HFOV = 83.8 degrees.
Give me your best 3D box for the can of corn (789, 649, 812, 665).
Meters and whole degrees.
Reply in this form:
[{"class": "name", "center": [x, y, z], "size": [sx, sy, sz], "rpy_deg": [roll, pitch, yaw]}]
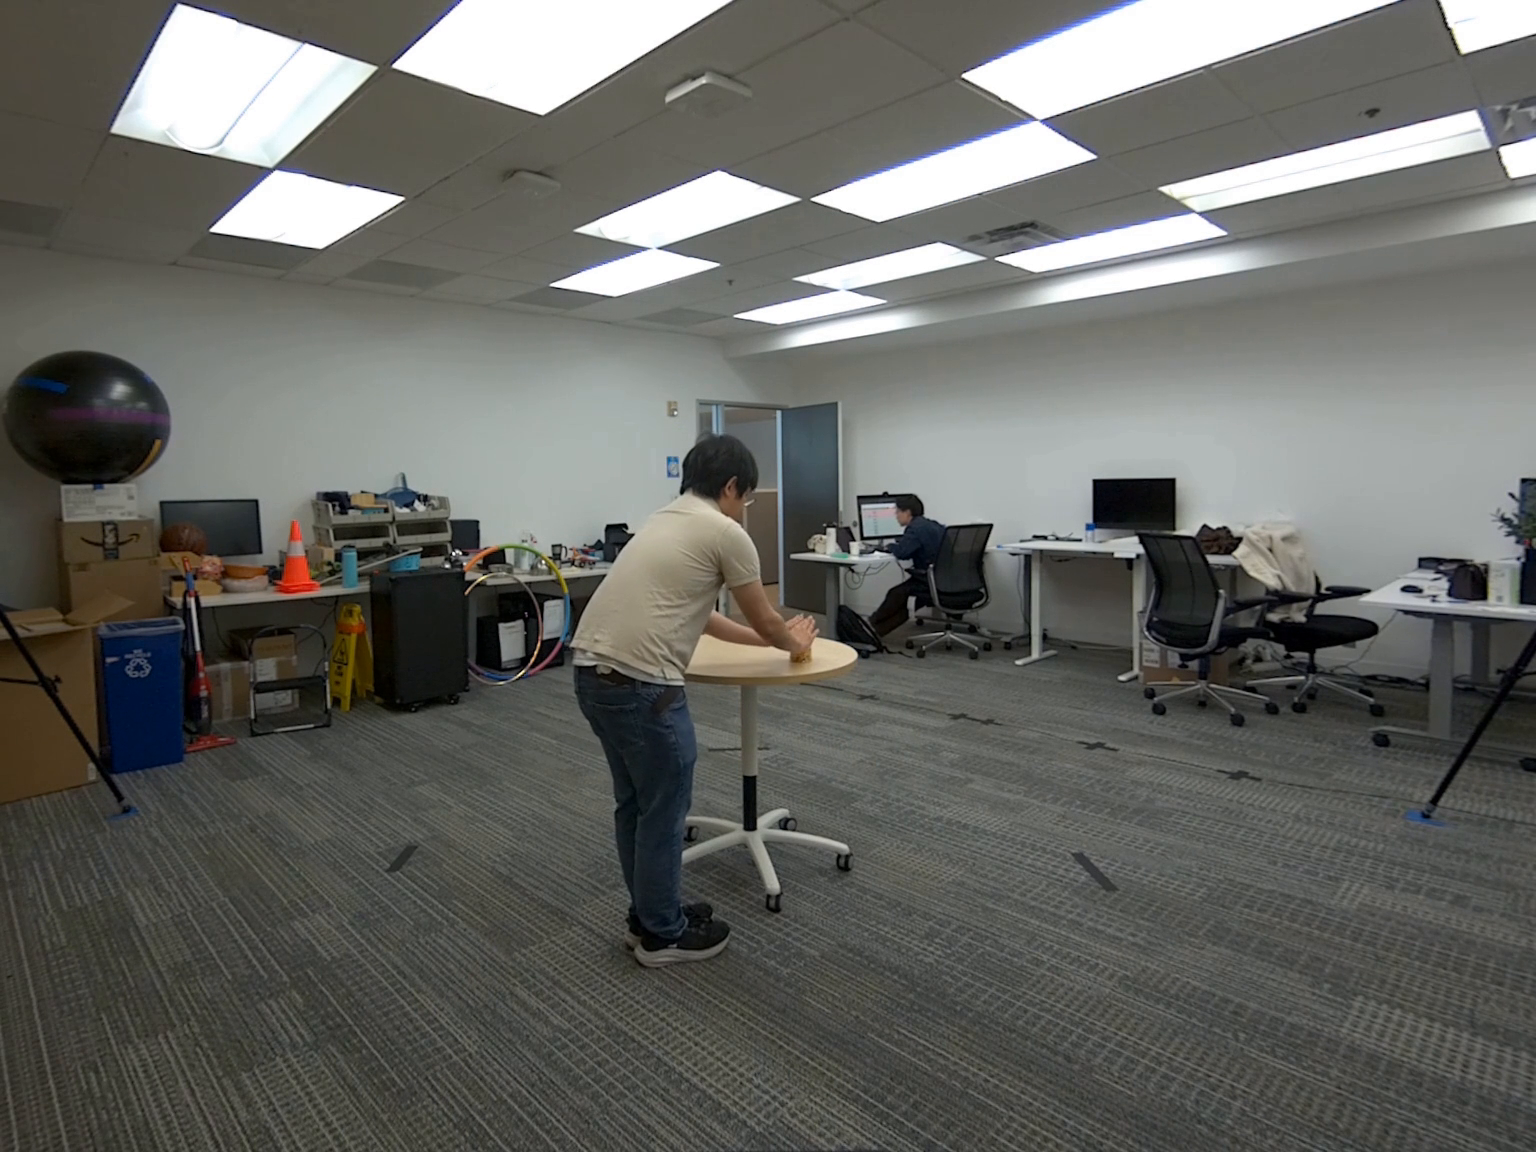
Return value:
[{"class": "can of corn", "center": [0.113, 0.234, 2.875], "size": [0.074, 0.110, 0.075], "rpy_deg": [1, 6, -2]}]
